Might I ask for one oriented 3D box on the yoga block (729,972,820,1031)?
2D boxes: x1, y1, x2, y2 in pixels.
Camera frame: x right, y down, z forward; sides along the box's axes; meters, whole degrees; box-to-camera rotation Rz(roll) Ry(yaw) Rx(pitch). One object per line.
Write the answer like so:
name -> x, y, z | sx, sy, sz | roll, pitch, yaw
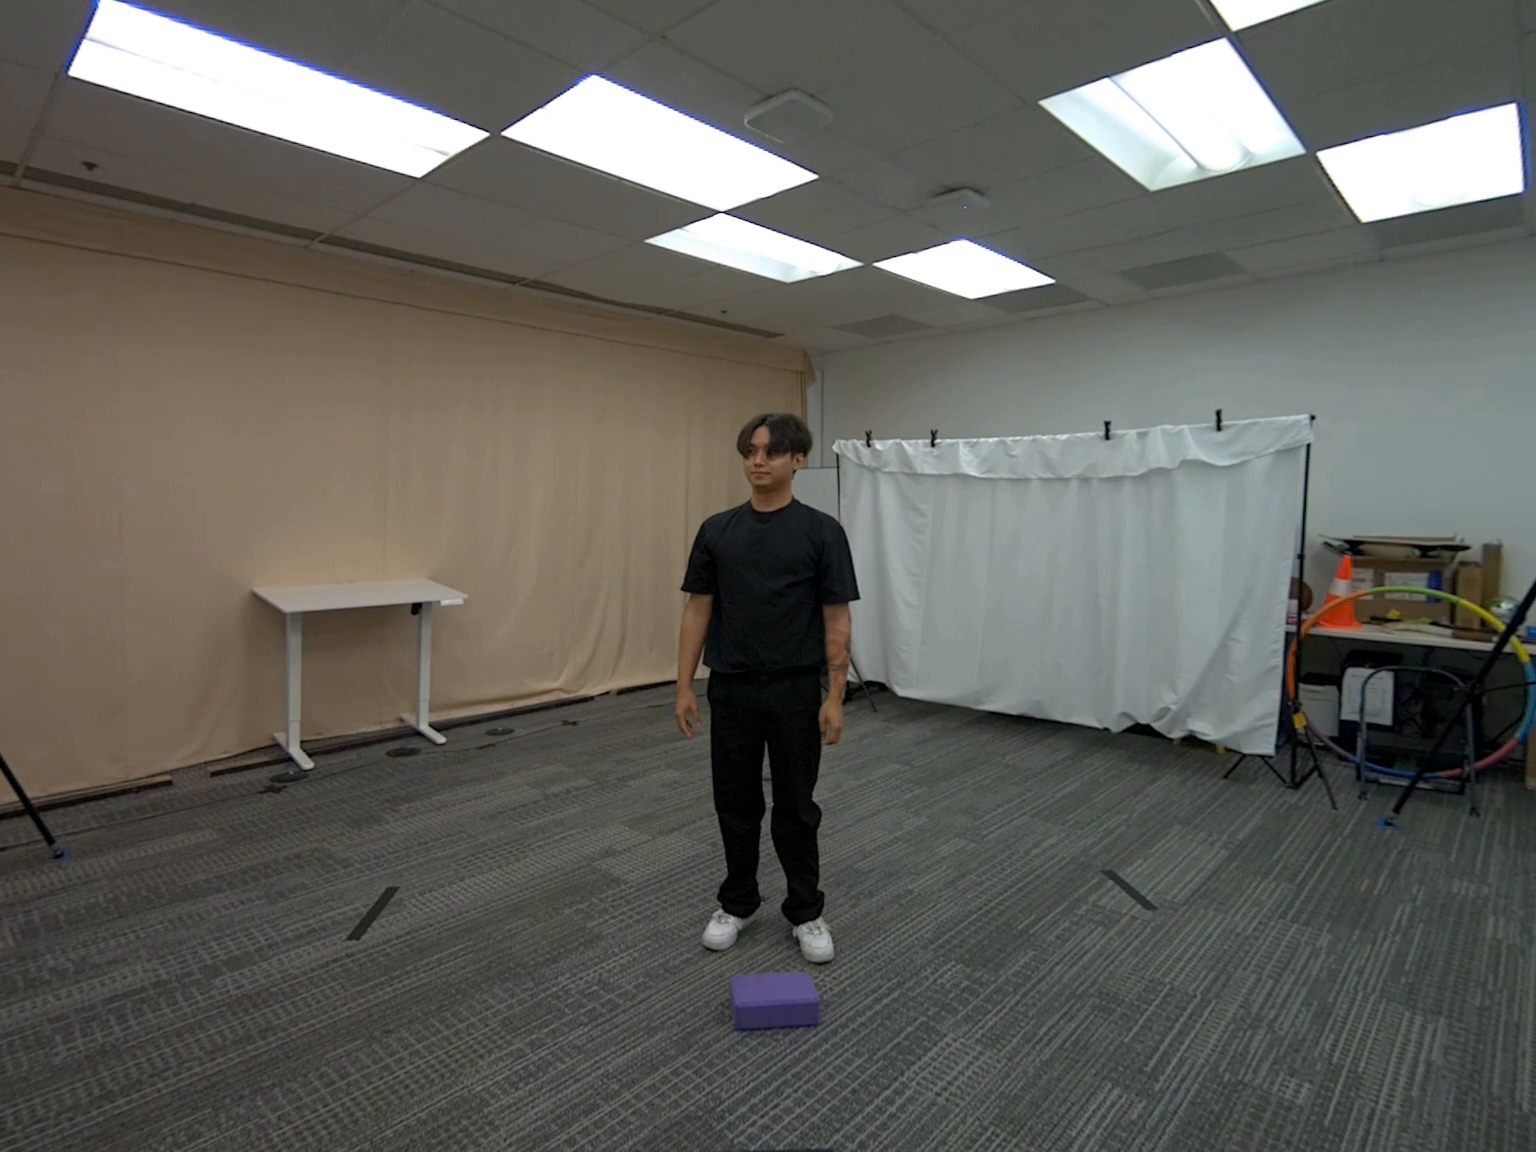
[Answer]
yoga block -> 0.017, 1.150, 2.314 | 0.228, 0.076, 0.150 | 1, 3, -6
